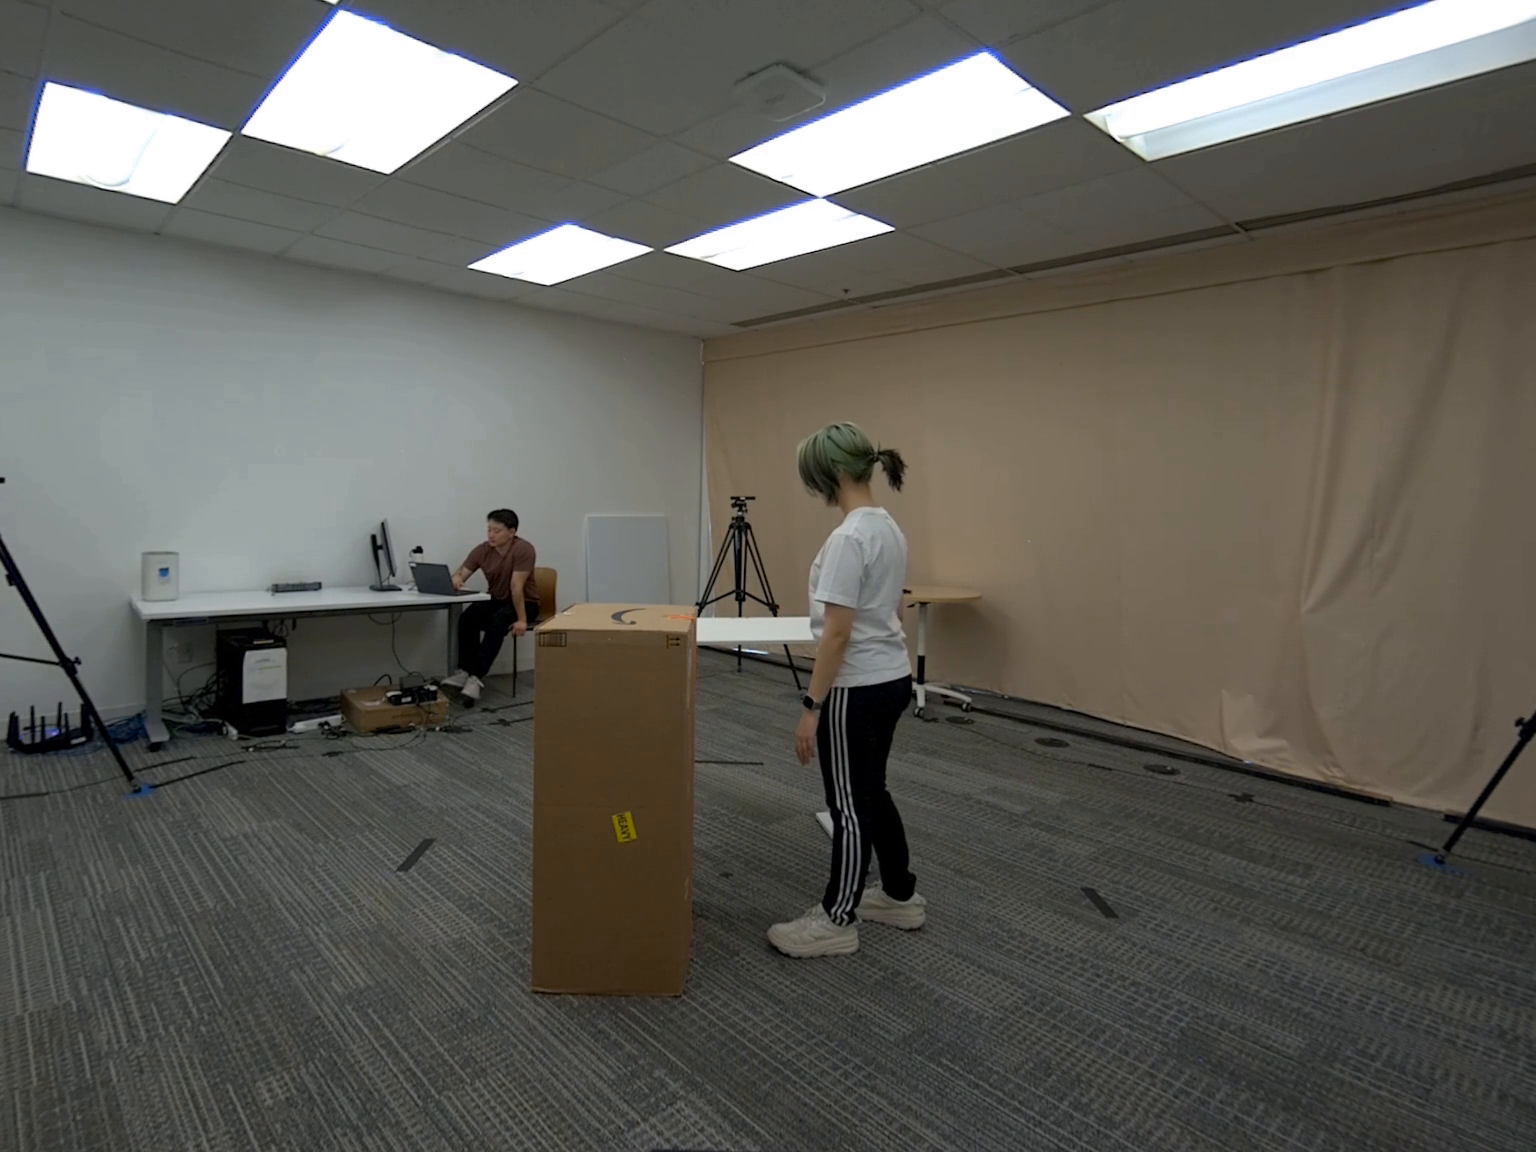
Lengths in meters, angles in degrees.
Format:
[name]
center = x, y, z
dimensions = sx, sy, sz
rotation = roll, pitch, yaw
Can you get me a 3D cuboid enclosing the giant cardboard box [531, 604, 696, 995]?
[giant cardboard box]
center = -0.456, 0.639, 2.599
dimensions = 0.446, 1.025, 0.585
rotation = 0, 3, -1
